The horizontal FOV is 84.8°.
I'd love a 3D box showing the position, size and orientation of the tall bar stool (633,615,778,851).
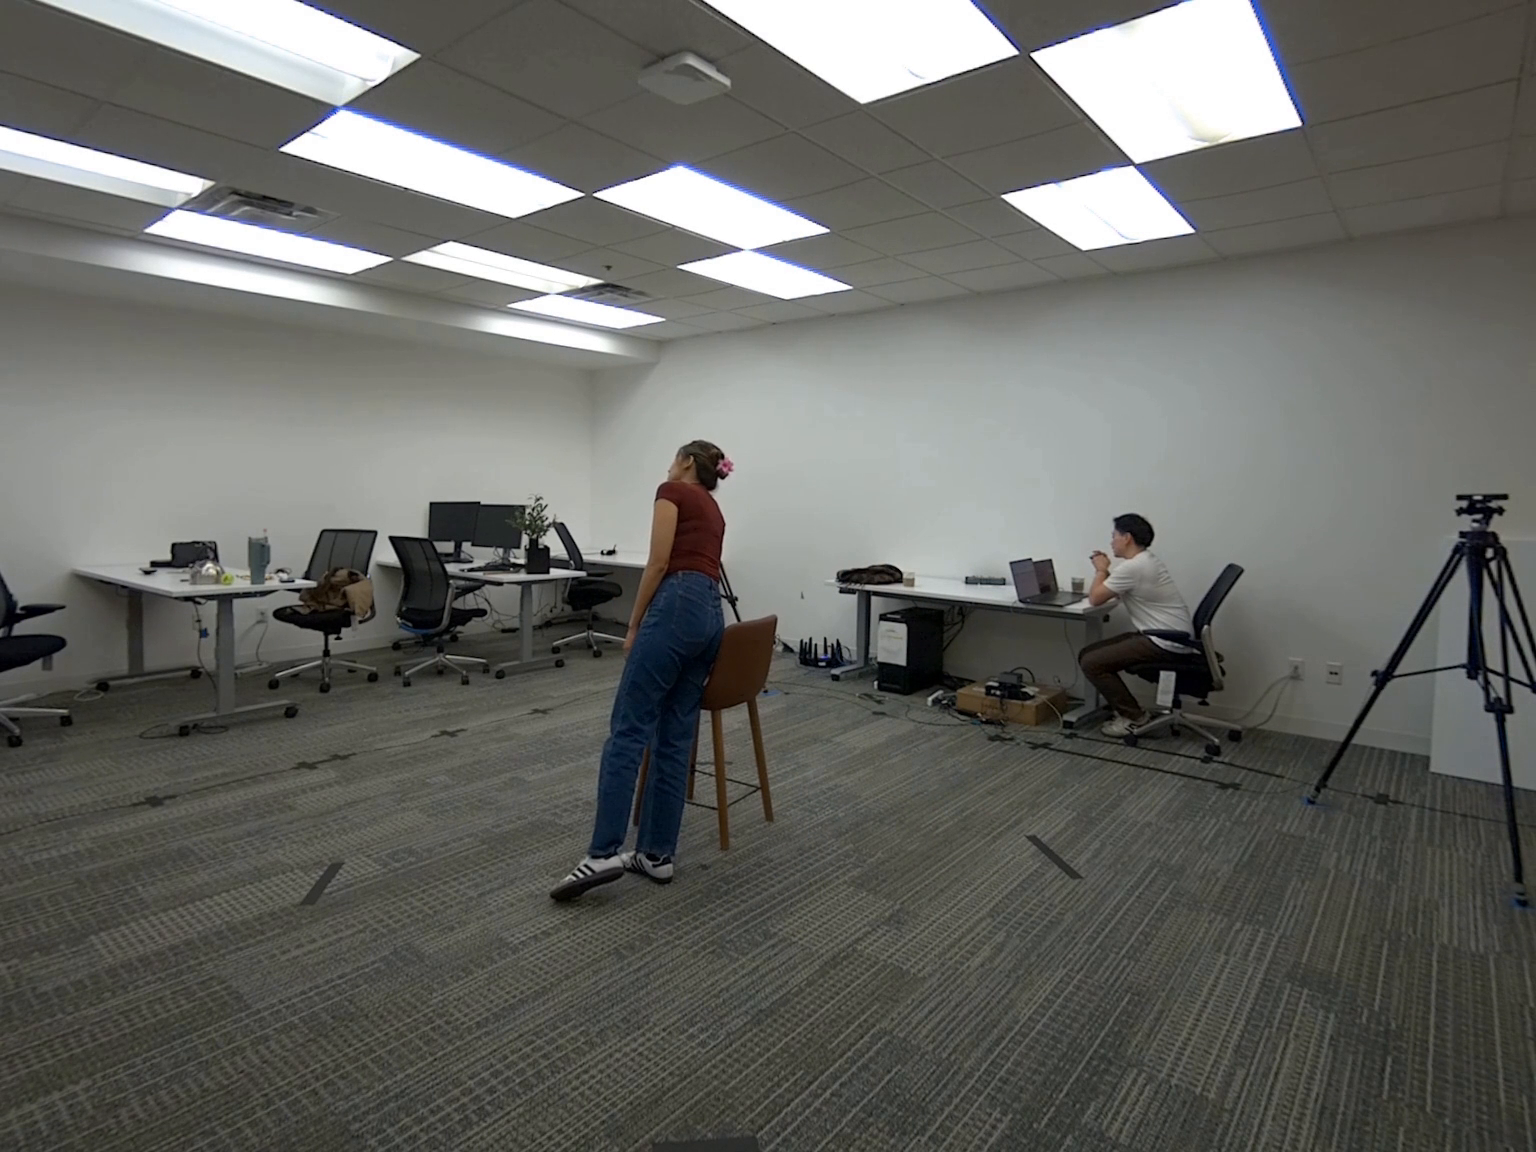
[{"bbox_3d":[-0.254,0.593,3.525,0.482,0.887,0.444,5,4,32],"label":"tall bar stool"}]
